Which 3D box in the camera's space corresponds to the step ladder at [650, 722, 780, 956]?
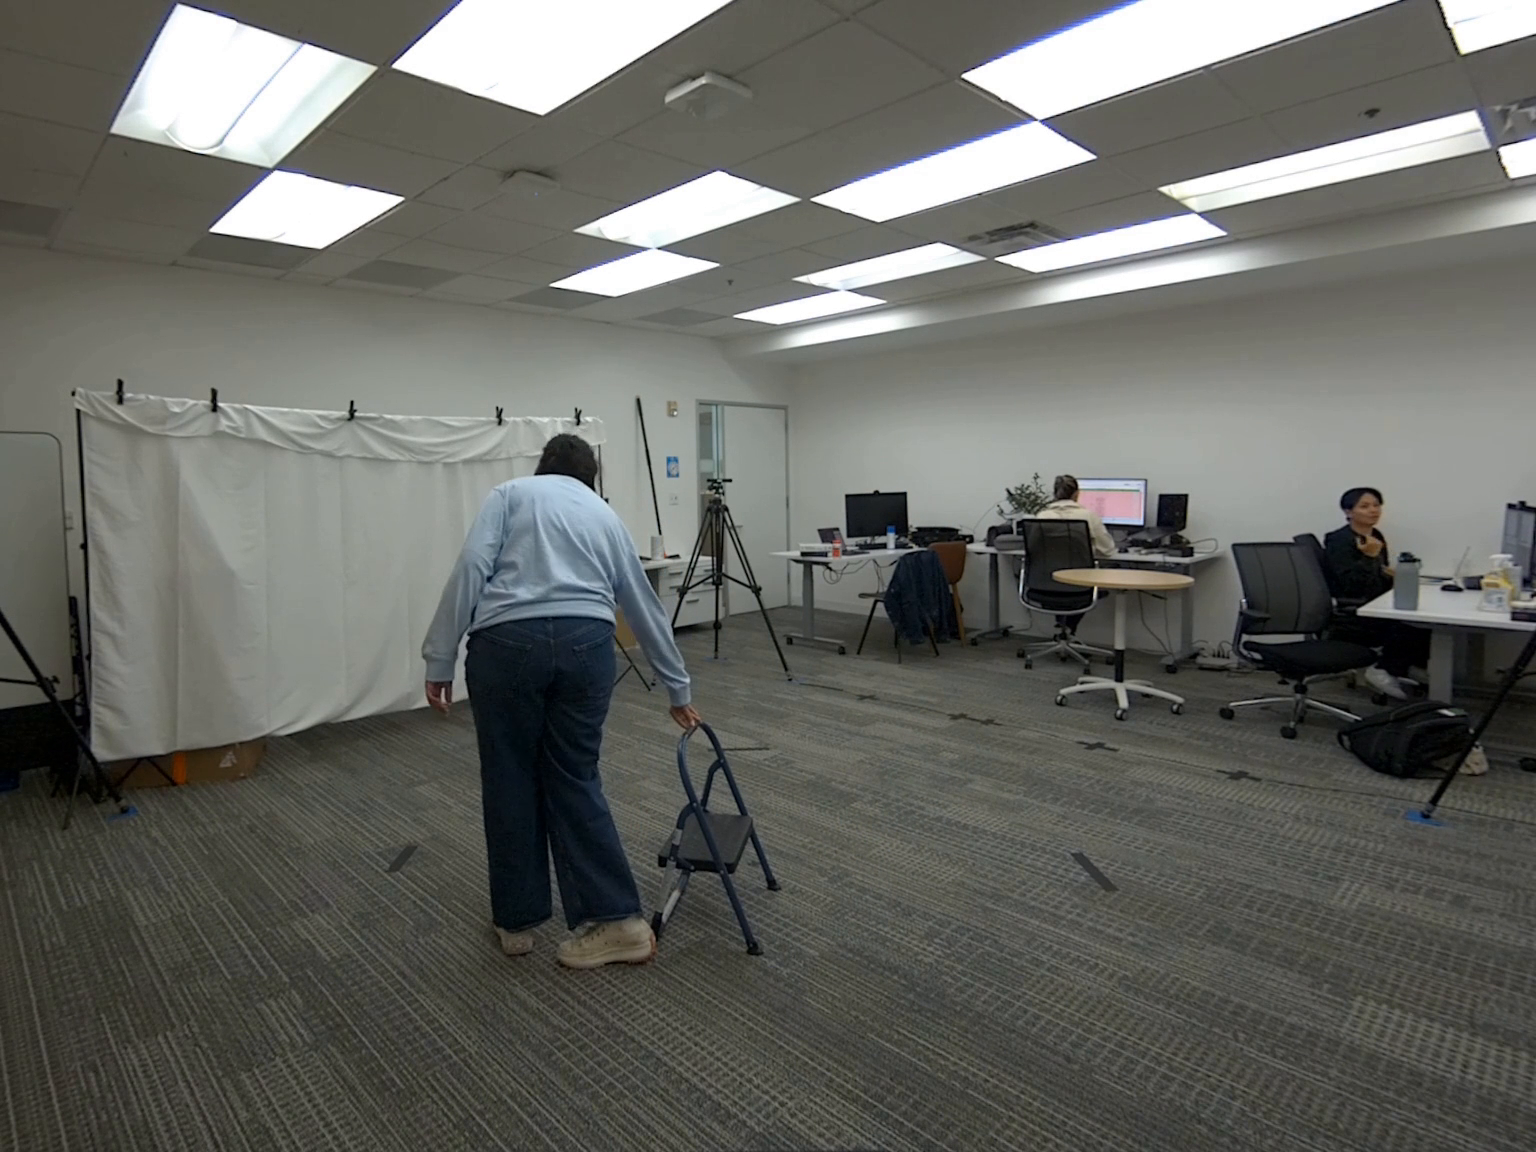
[{"bbox_3d":[-0.167,0.789,2.731,0.353,0.604,0.428,0,5,10],"label":"step ladder"}]
